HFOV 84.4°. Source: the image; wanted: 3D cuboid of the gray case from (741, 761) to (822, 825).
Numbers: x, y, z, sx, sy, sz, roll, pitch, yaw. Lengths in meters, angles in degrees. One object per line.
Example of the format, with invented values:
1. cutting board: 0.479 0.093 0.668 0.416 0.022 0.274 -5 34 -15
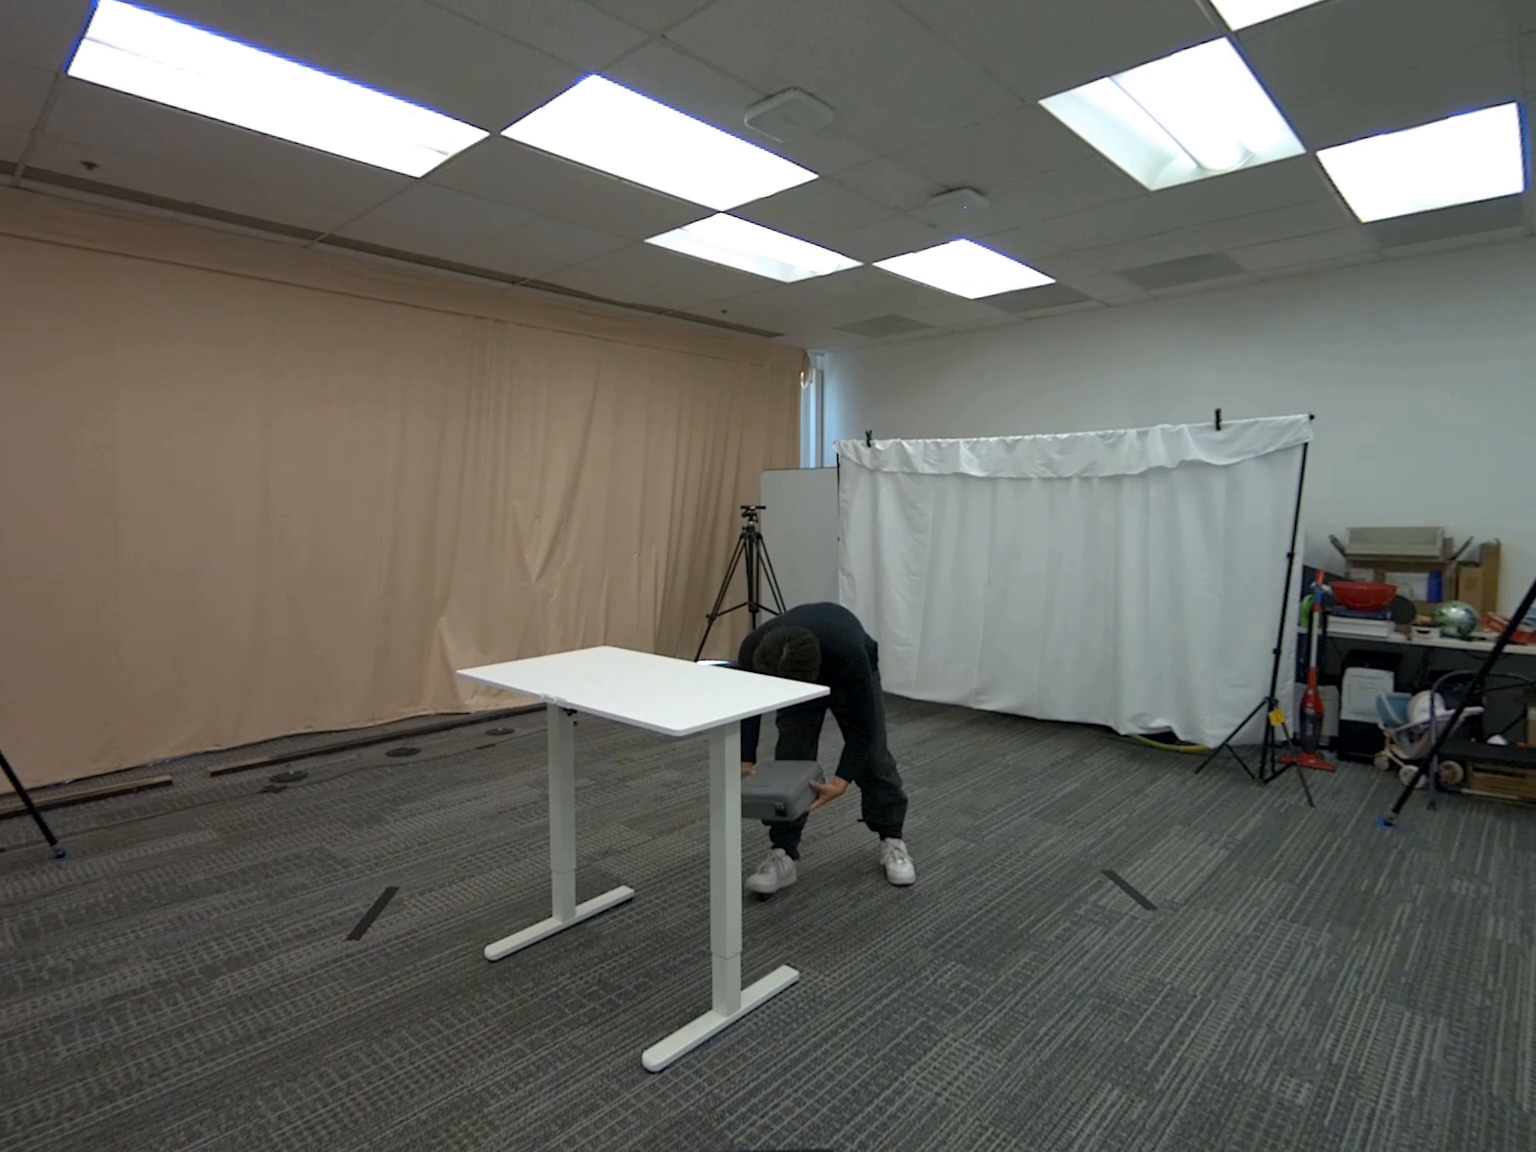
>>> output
1. gray case: 0.018 0.726 2.866 0.268 0.104 0.251 -7 8 33
